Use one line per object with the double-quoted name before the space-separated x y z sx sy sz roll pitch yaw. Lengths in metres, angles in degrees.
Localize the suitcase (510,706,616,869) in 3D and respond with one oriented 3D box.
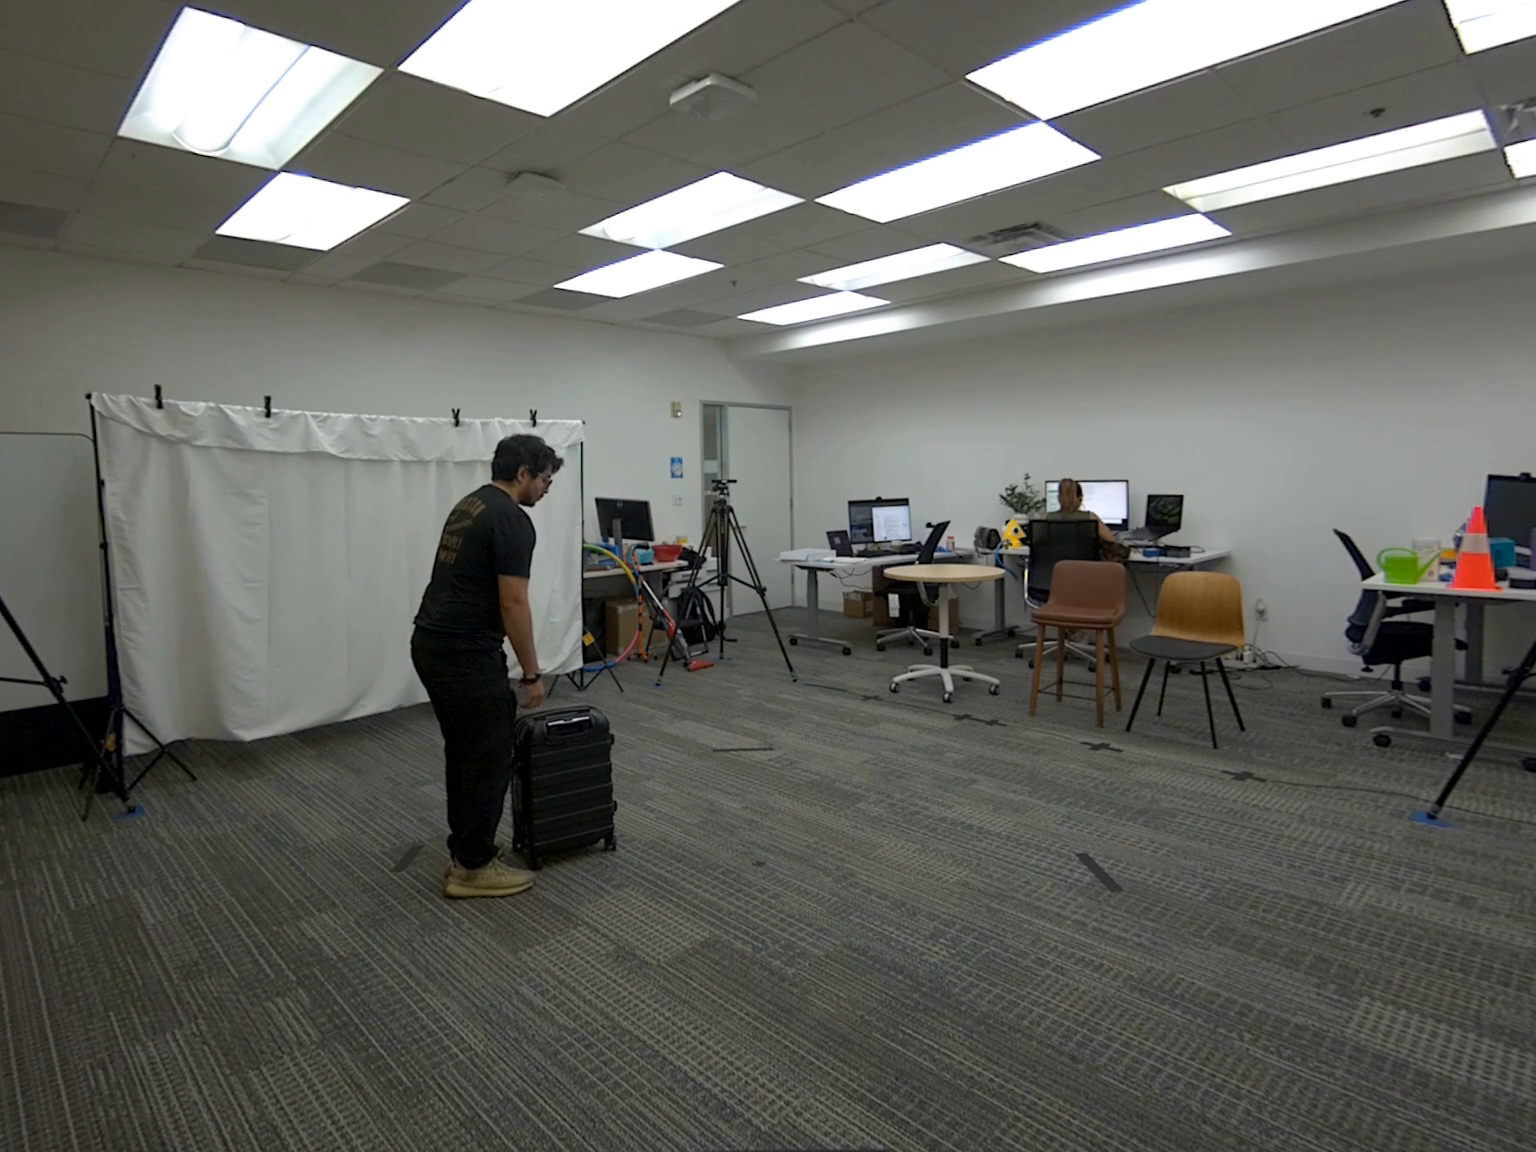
"suitcase" -0.785 0.769 3.237 0.366 0.547 0.255 -5 6 -32
